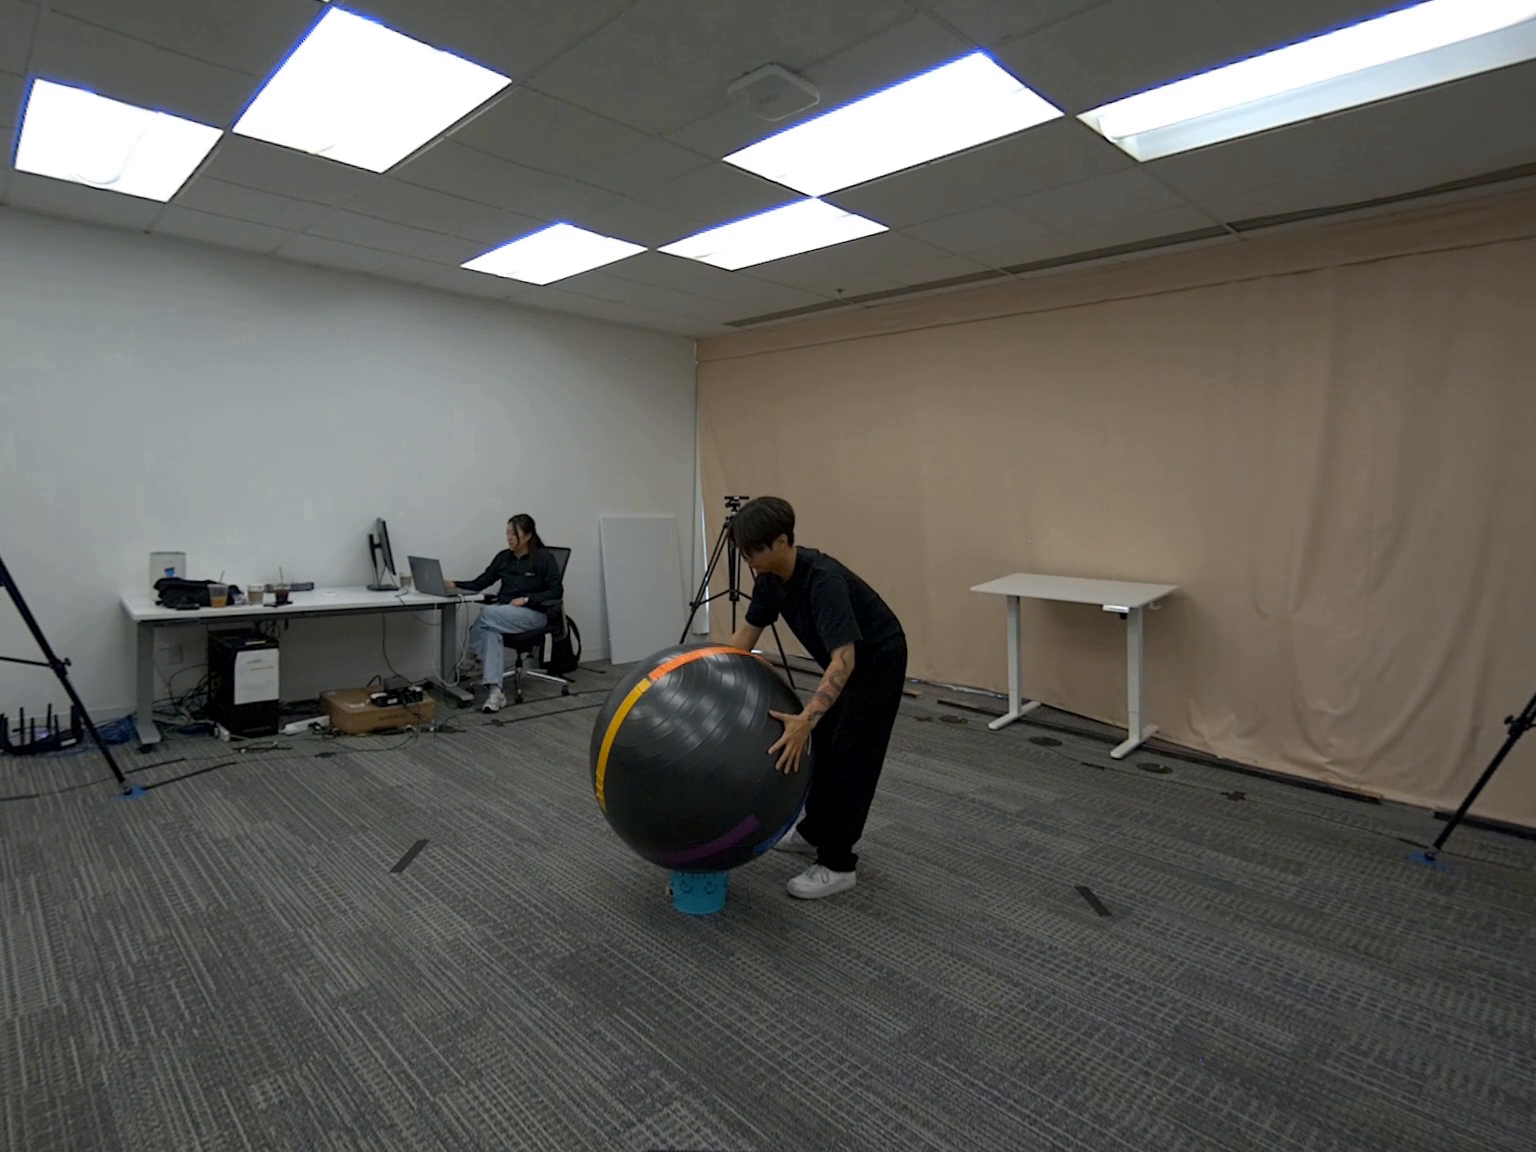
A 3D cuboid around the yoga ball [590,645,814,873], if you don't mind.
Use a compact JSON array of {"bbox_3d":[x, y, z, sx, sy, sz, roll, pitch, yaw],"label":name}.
[{"bbox_3d":[-0.227,0.615,2.861,0.757,0.756,0.761,1,4,-1],"label":"yoga ball"}]
